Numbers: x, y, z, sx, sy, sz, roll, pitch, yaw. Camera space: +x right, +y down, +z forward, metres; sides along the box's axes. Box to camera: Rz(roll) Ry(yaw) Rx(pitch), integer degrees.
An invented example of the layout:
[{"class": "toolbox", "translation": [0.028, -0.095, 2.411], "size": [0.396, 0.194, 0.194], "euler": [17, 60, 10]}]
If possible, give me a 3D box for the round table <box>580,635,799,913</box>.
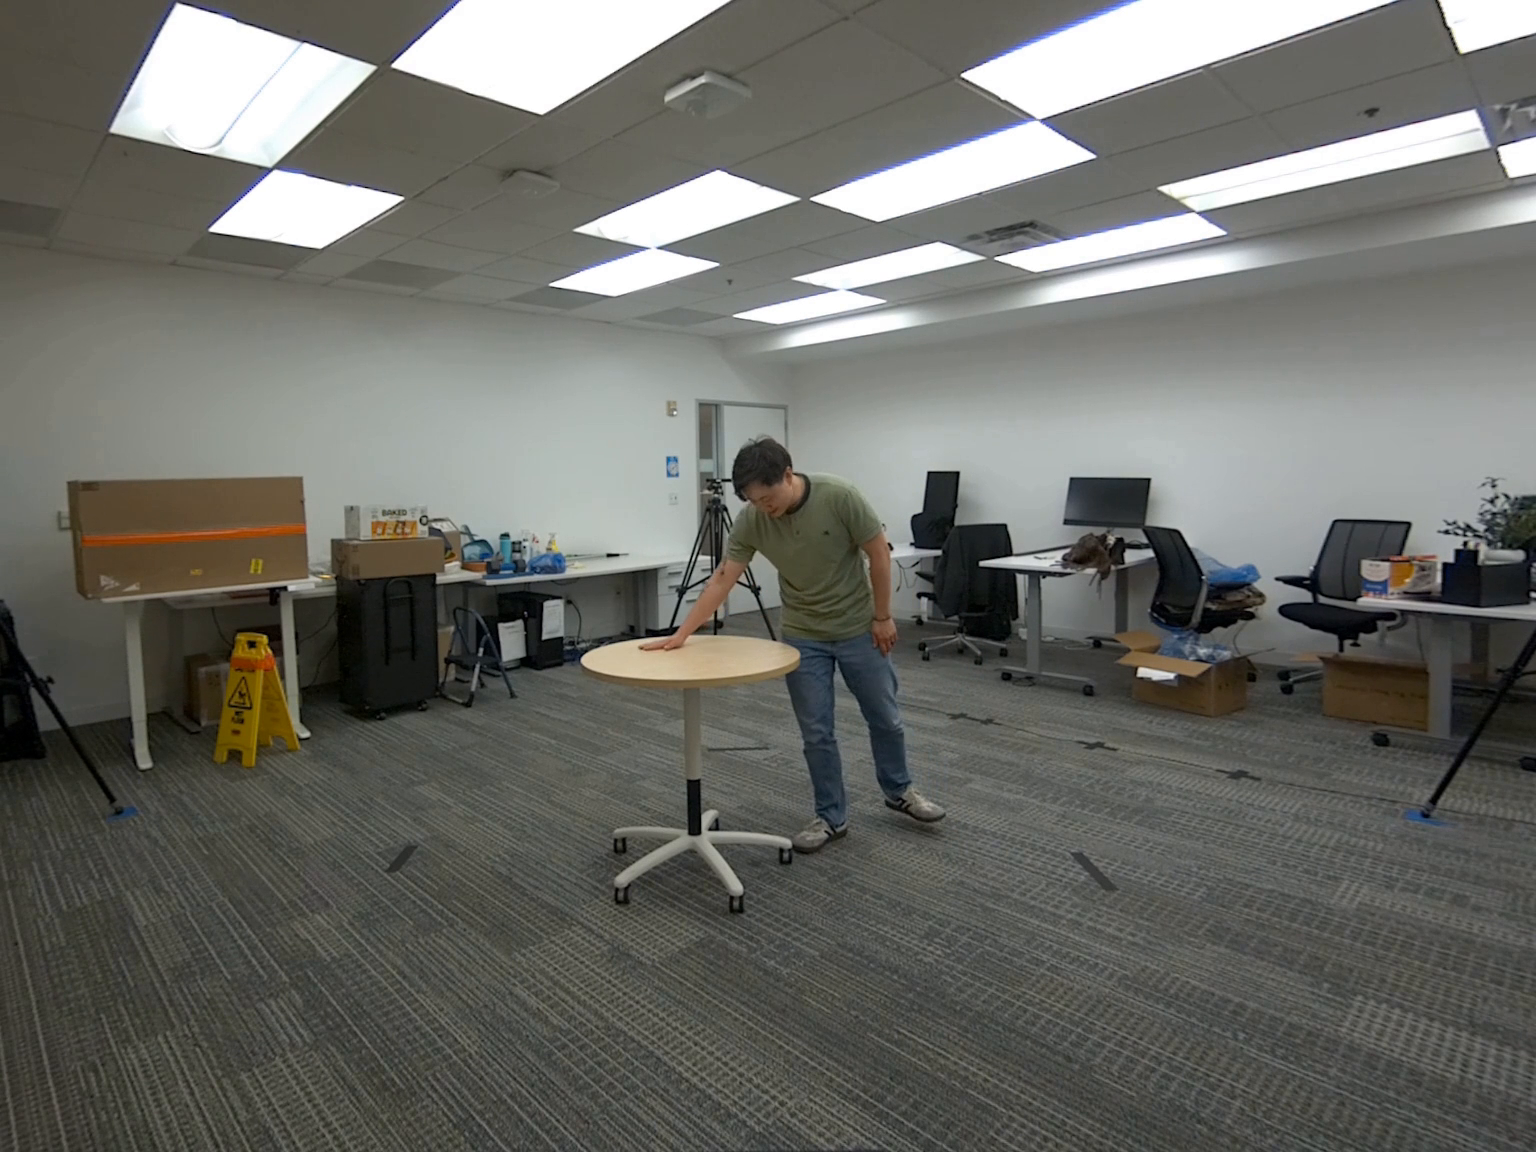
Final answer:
[{"class": "round table", "translation": [-0.263, 0.669, 3.021], "size": [0.763, 0.791, 0.768], "euler": [-1, 5, -2]}]
